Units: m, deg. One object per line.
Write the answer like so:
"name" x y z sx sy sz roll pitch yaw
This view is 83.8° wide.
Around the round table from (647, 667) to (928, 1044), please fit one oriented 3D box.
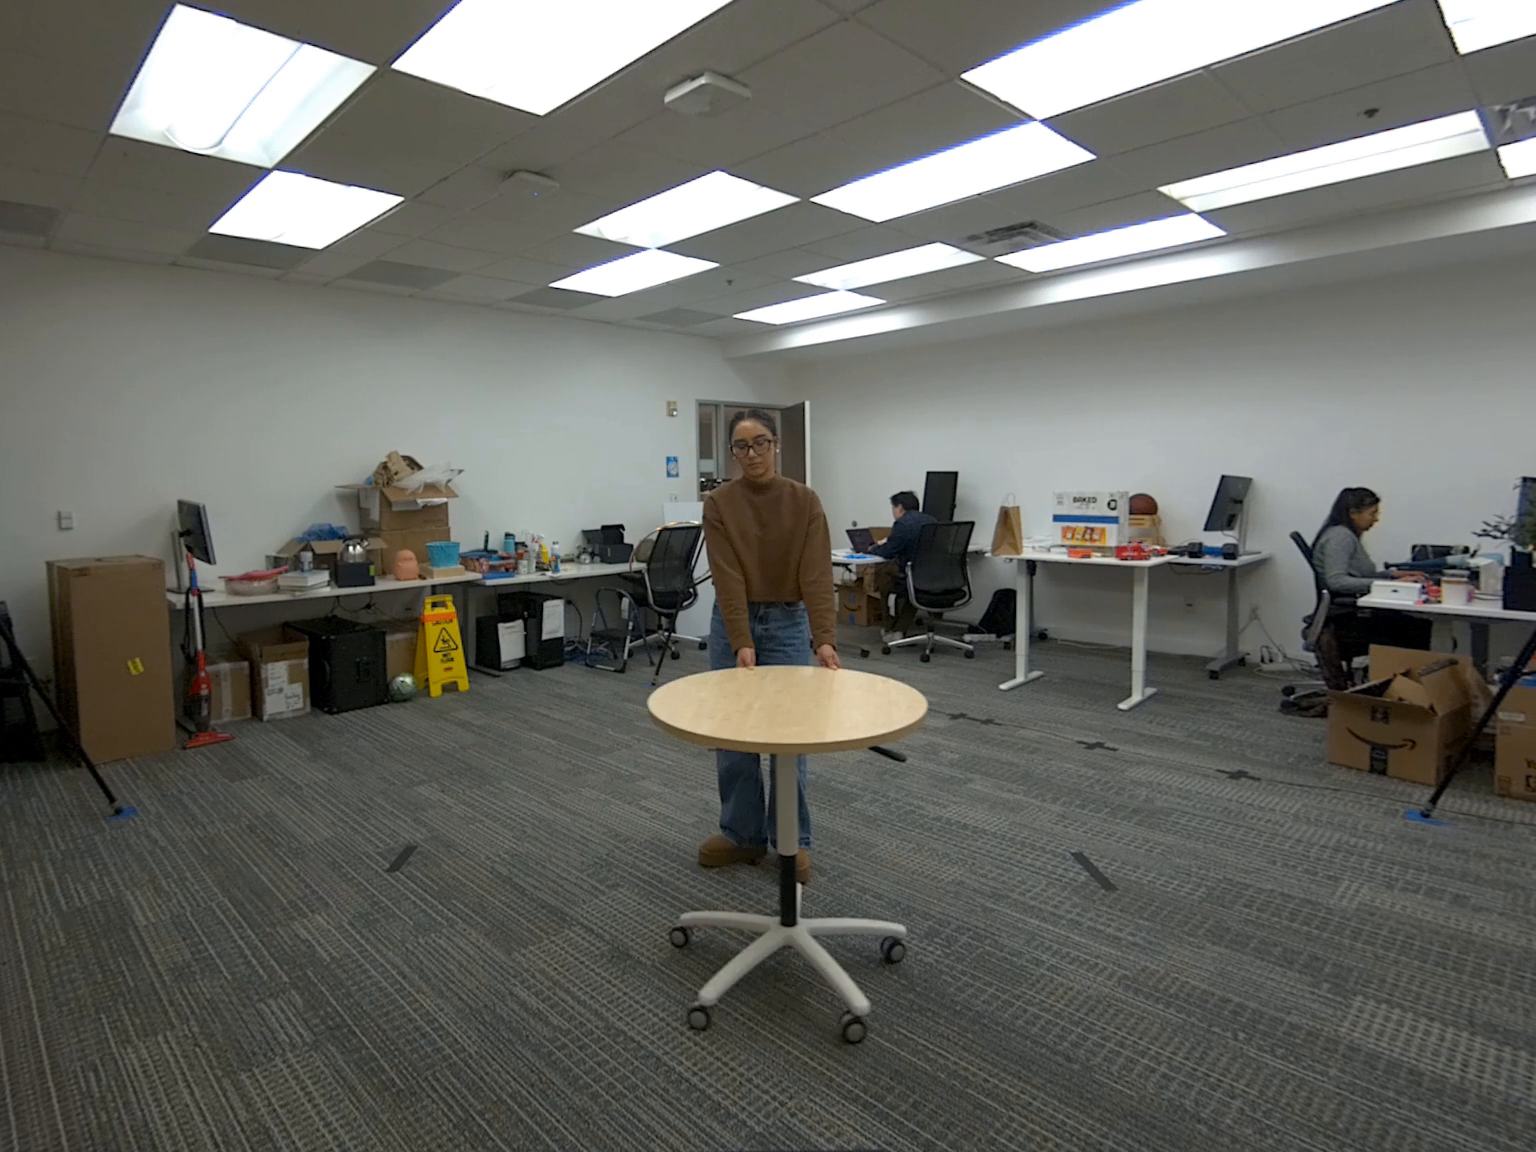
"round table" 0.038 0.730 2.416 0.784 0.783 0.789 -1 5 -2
